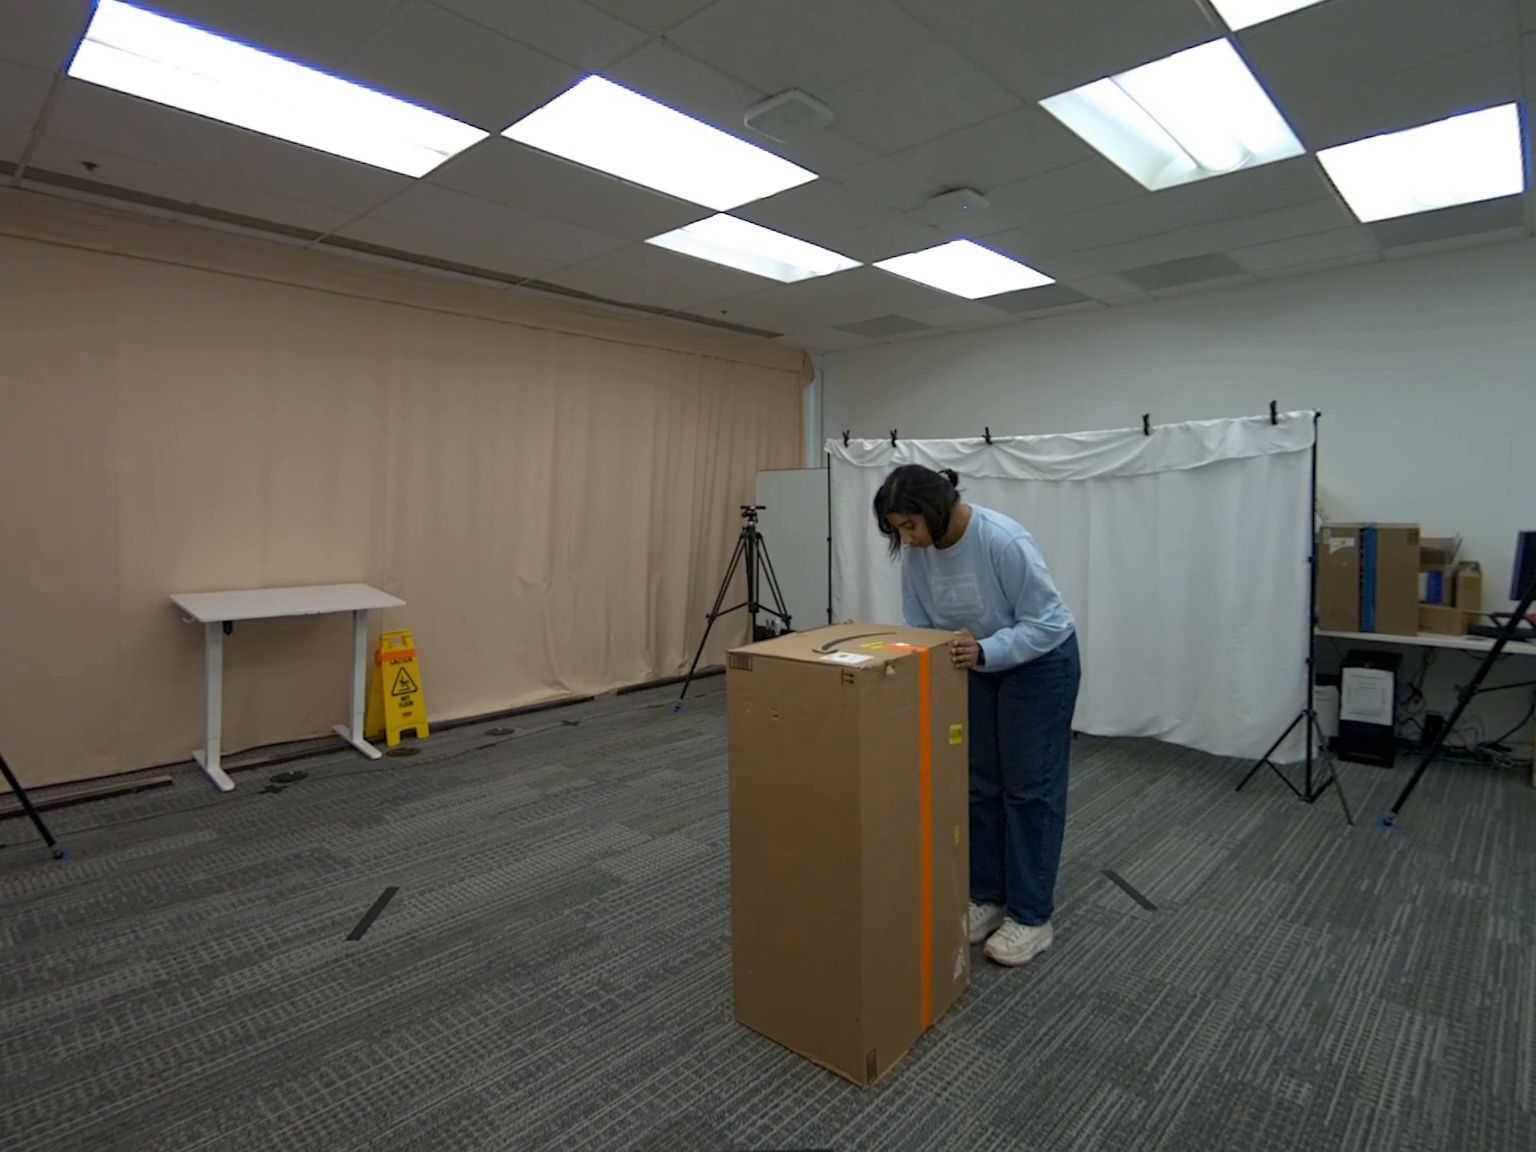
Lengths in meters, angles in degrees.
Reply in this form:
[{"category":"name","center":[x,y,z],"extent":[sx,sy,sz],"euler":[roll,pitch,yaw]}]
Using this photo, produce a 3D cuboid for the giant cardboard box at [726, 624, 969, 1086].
[{"category":"giant cardboard box","center":[0.239,0.693,2.323],"extent":[0.440,1.023,0.560],"euler":[2,4,39]}]
